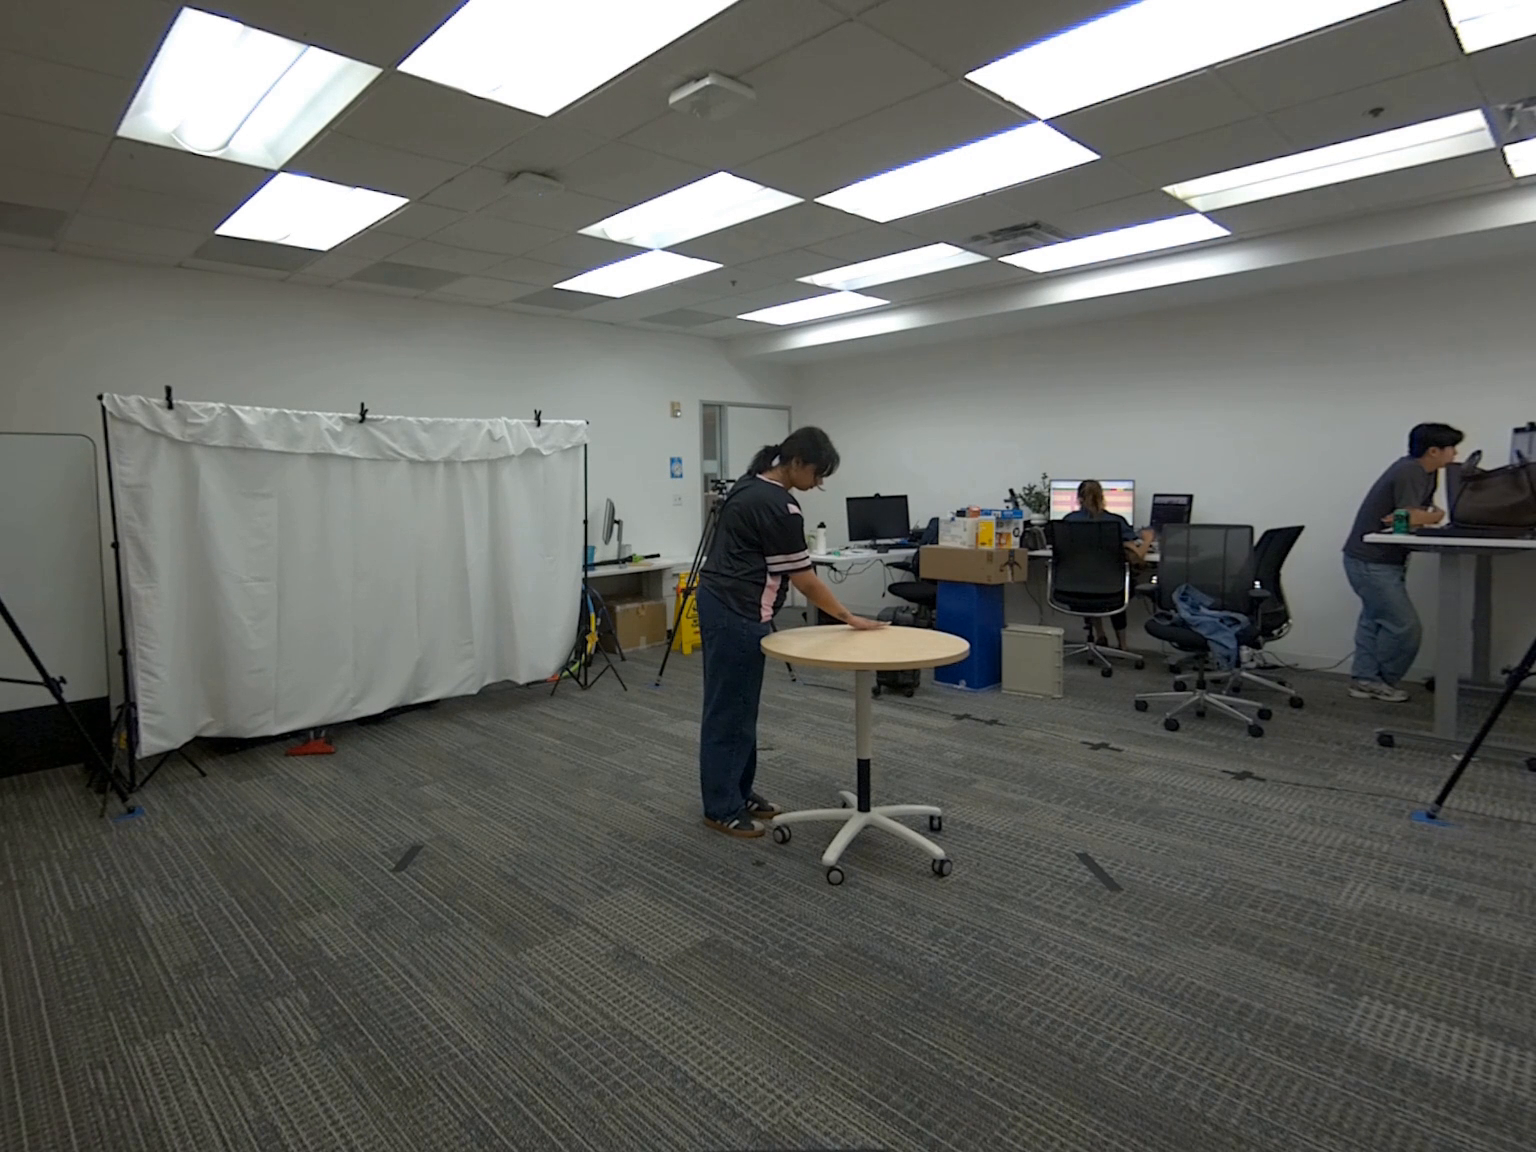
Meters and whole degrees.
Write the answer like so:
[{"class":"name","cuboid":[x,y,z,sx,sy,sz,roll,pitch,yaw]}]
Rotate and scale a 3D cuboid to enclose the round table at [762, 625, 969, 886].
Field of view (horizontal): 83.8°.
[{"class":"round table","cuboid":[0.369,0.633,3.226,0.784,0.783,0.789,-1,5,-2]}]
